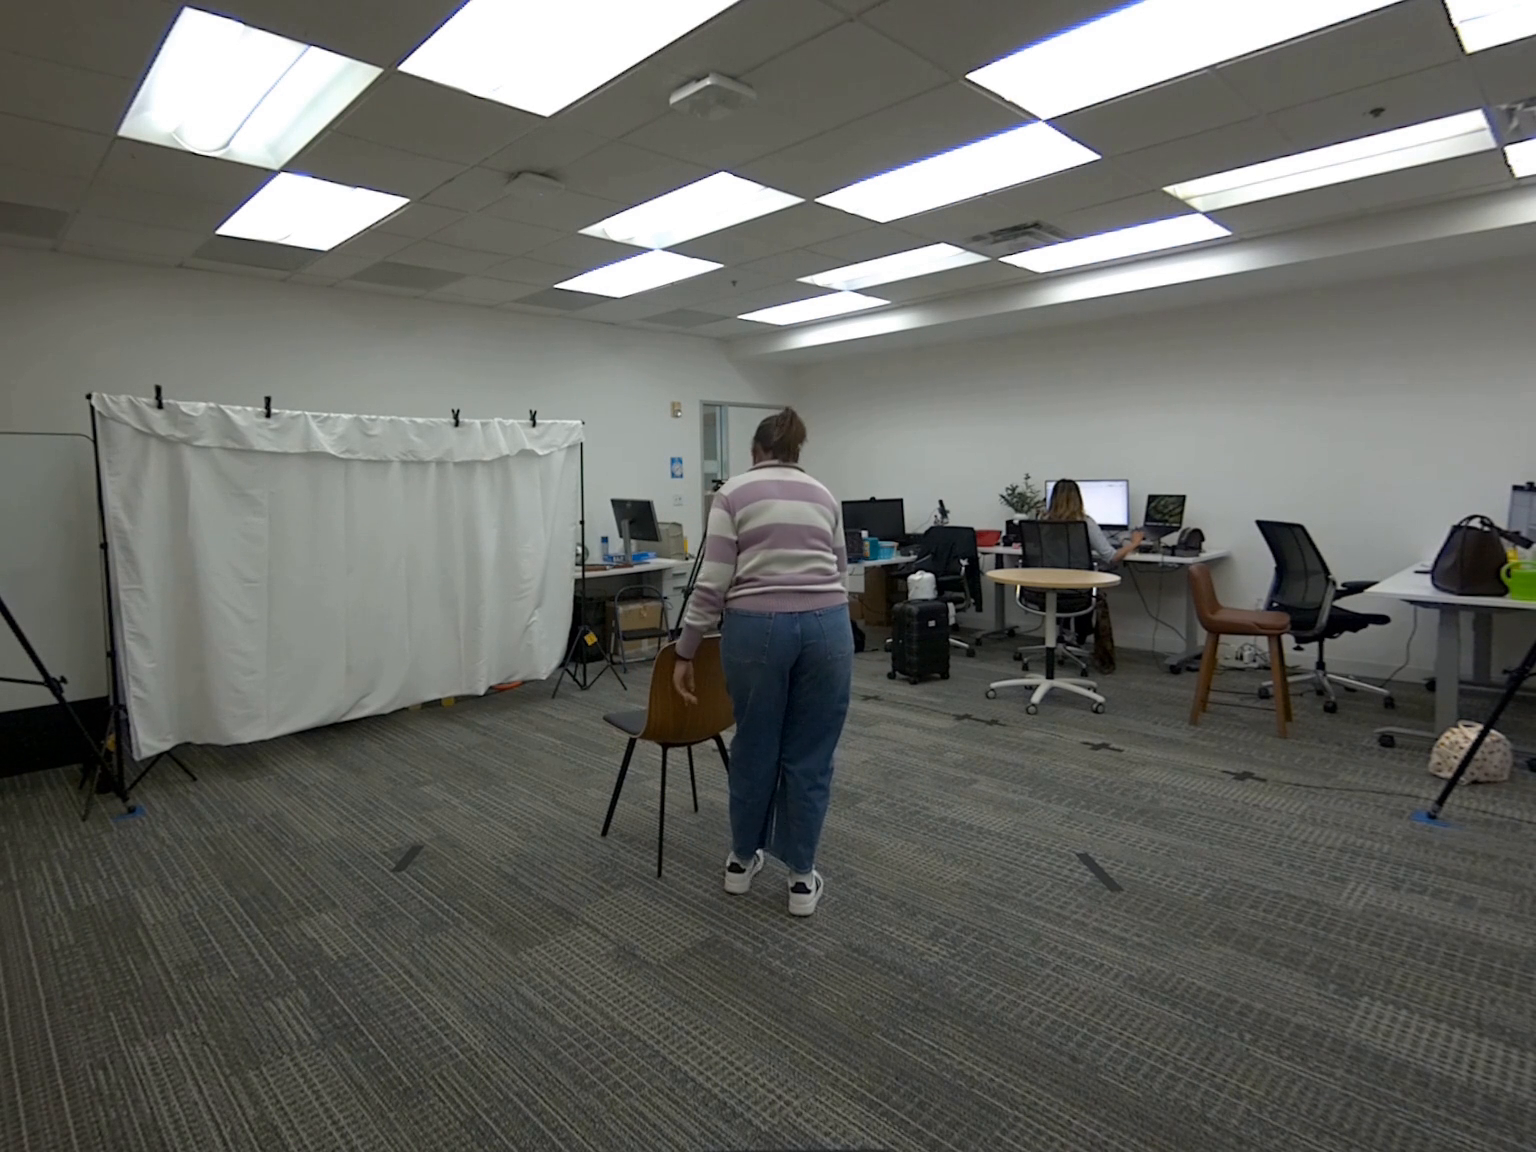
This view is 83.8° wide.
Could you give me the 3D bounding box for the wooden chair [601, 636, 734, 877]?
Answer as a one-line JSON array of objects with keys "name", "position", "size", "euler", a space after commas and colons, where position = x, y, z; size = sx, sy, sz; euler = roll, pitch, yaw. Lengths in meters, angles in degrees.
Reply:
[{"name": "wooden chair", "position": [-0.356, 0.605, 3.293], "size": [0.466, 0.872, 0.540], "euler": [-4, 9, -36]}]
